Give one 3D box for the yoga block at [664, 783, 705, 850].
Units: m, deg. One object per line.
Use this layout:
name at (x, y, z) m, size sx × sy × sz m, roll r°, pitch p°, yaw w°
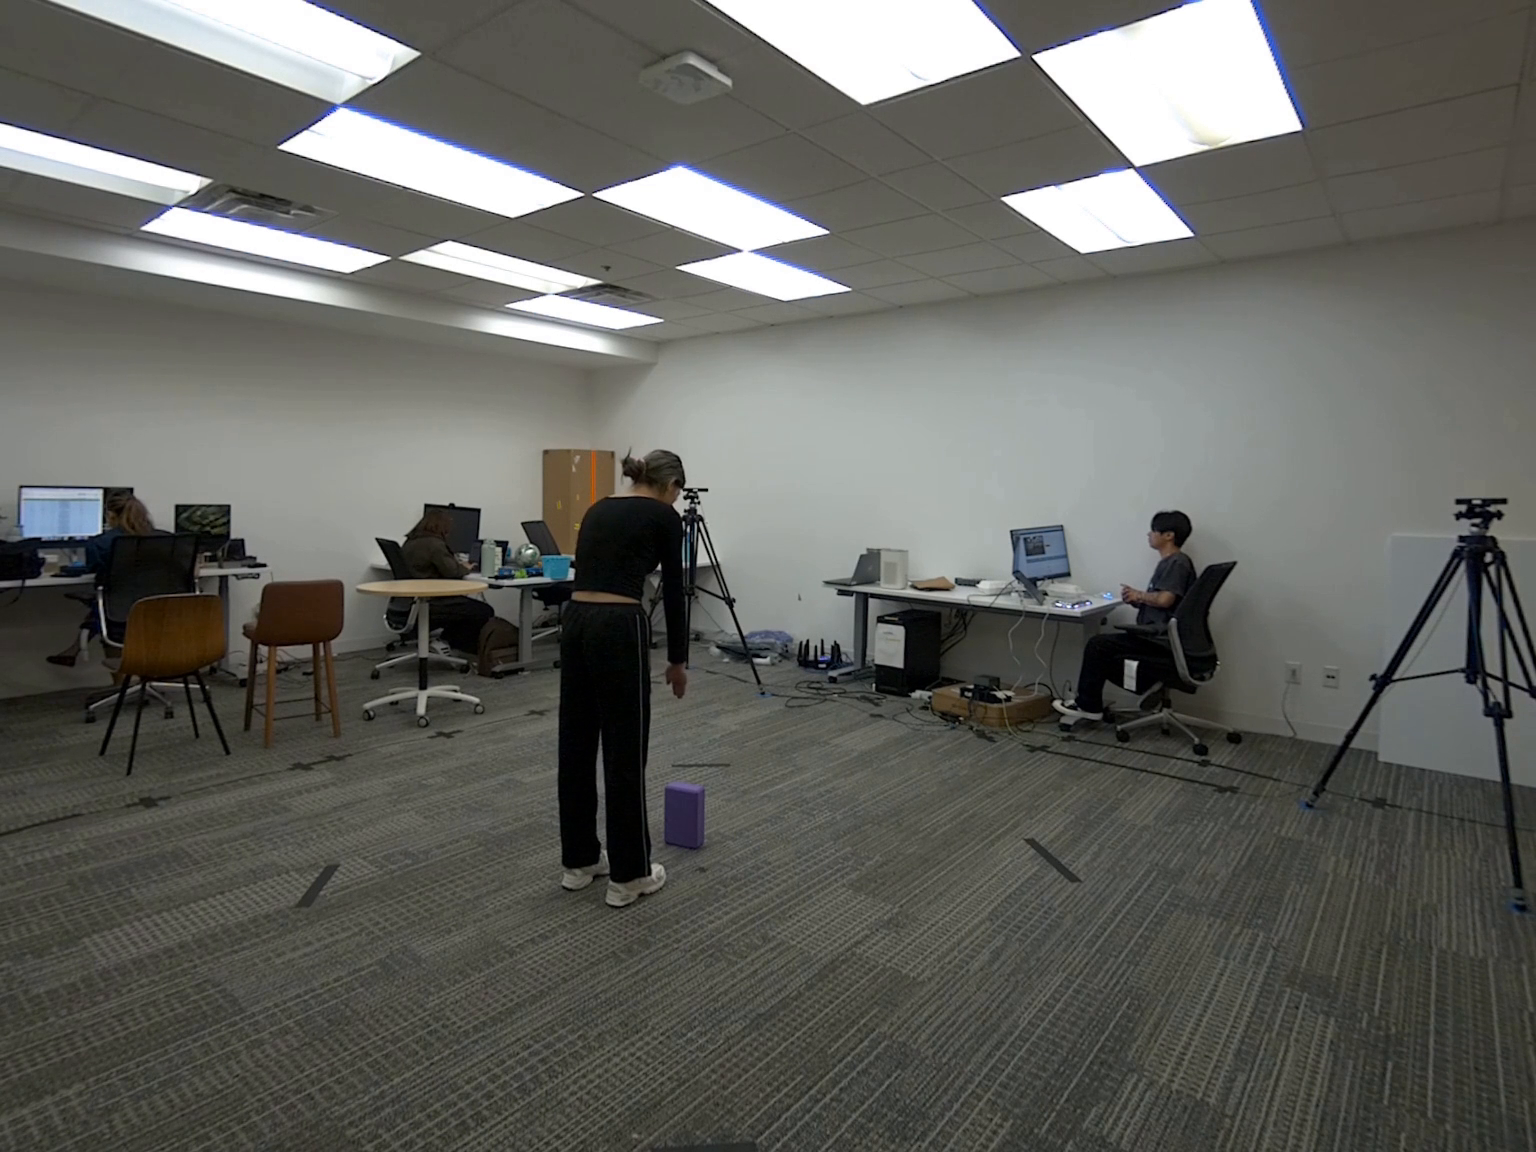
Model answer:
yoga block at (-0.340, 0.930, 3.332) m, size 0.153 × 0.229 × 0.075 m, roll 2°, pitch 2°, yaw 24°
